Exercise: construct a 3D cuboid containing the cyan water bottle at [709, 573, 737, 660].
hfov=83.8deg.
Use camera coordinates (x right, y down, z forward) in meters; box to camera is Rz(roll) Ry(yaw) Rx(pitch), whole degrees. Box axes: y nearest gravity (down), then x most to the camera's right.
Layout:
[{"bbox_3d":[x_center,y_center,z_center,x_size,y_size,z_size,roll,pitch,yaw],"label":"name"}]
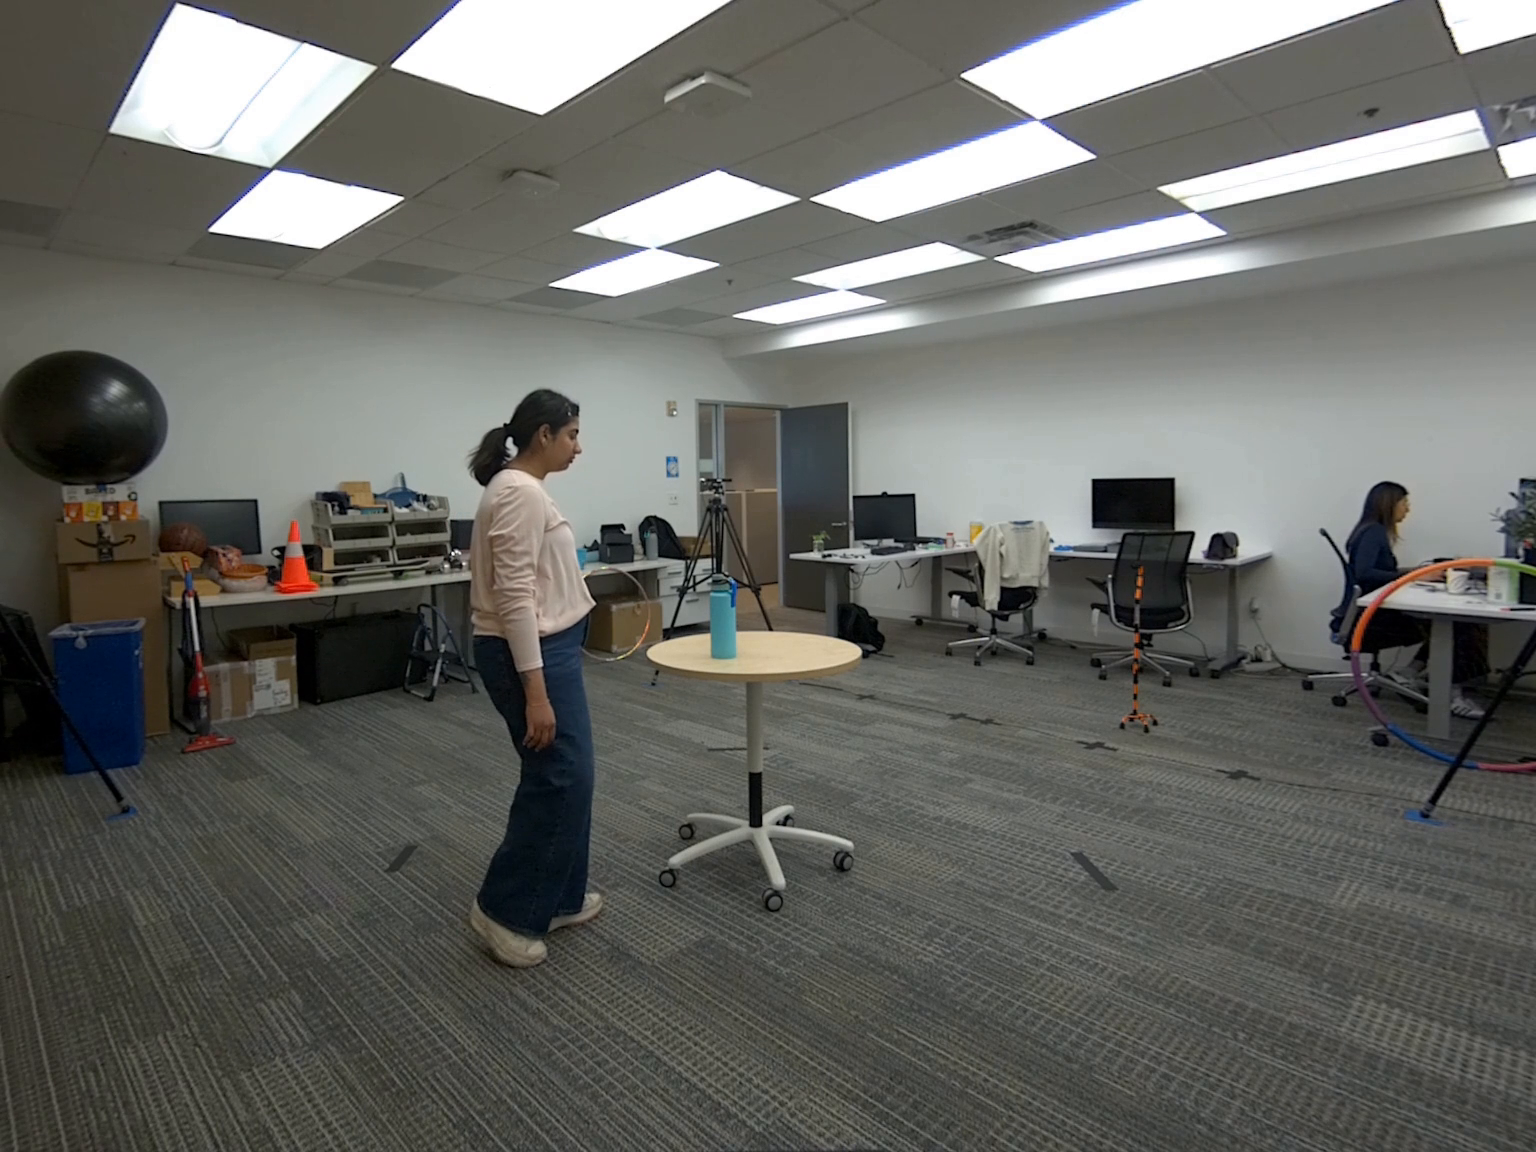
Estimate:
[{"bbox_3d":[-0.152,0.138,2.946,0.092,0.282,0.093,-1,3,-2],"label":"cyan water bottle"}]
